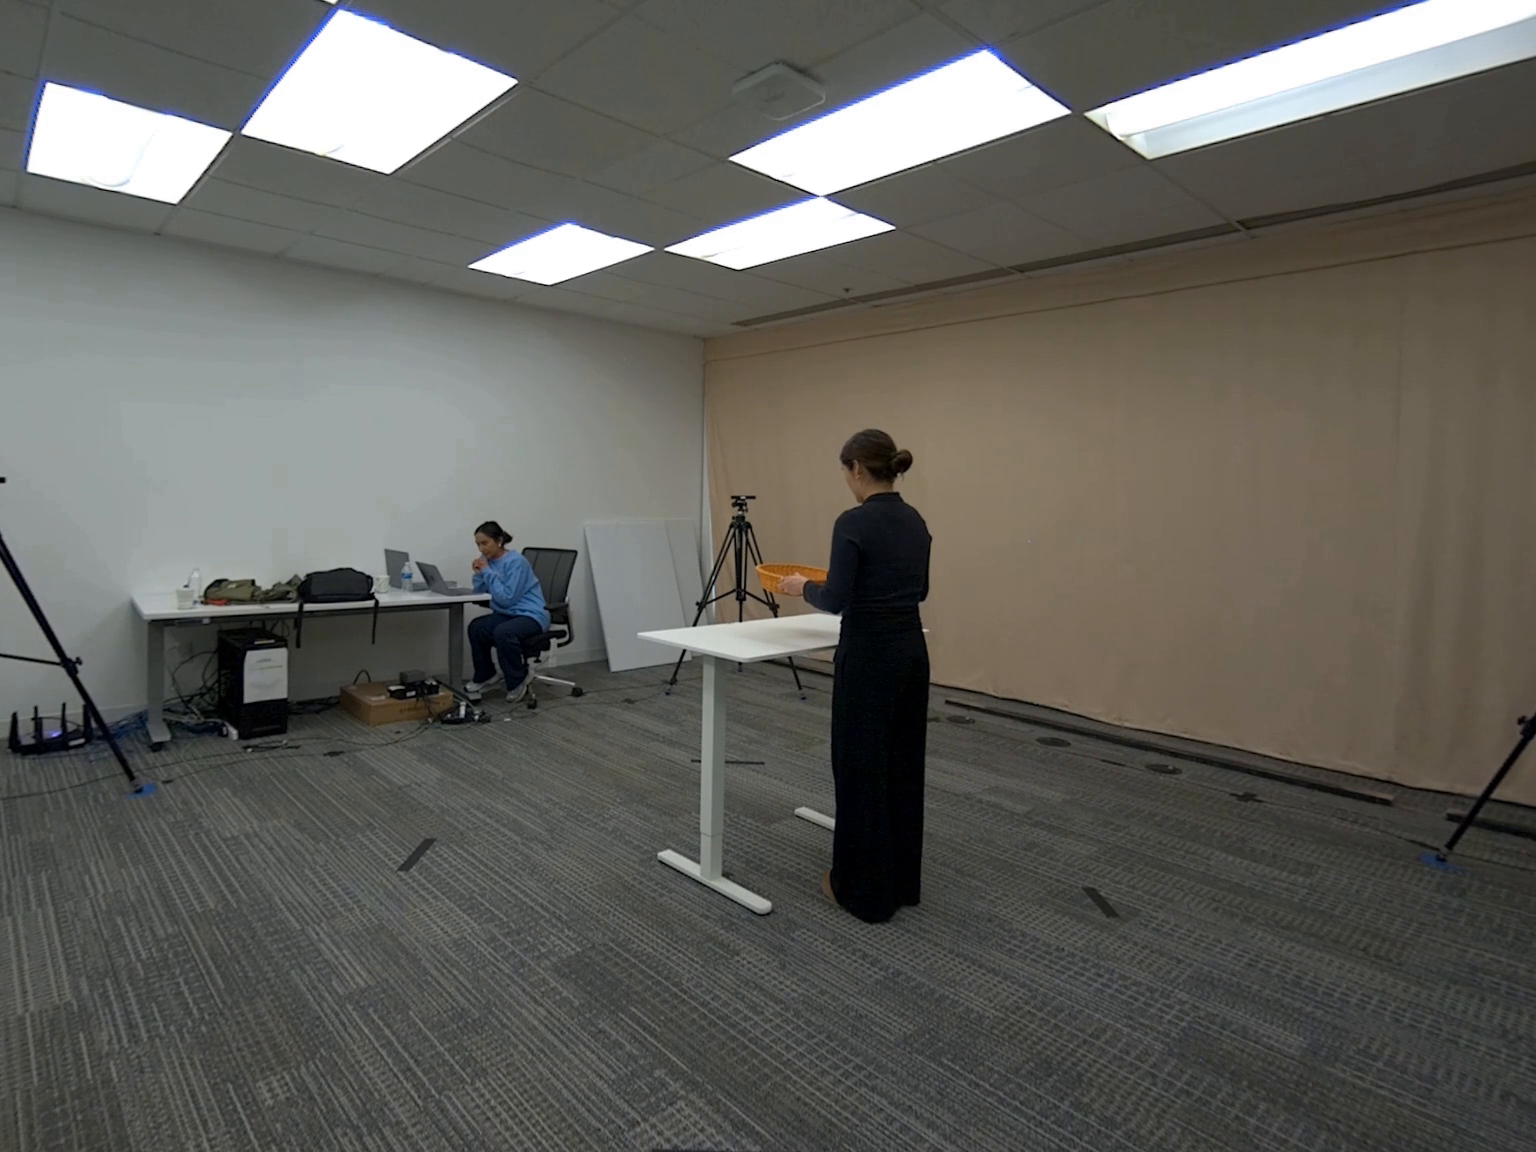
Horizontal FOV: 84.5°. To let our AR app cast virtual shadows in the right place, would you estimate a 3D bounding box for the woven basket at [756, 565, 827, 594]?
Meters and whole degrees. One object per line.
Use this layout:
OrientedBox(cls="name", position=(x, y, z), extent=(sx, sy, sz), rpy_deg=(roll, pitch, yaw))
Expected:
OrientedBox(cls="woven basket", position=(0.137, 0.027, 3.148), extent=(0.344, 0.073, 0.259), rpy_deg=(2, 11, -26))
